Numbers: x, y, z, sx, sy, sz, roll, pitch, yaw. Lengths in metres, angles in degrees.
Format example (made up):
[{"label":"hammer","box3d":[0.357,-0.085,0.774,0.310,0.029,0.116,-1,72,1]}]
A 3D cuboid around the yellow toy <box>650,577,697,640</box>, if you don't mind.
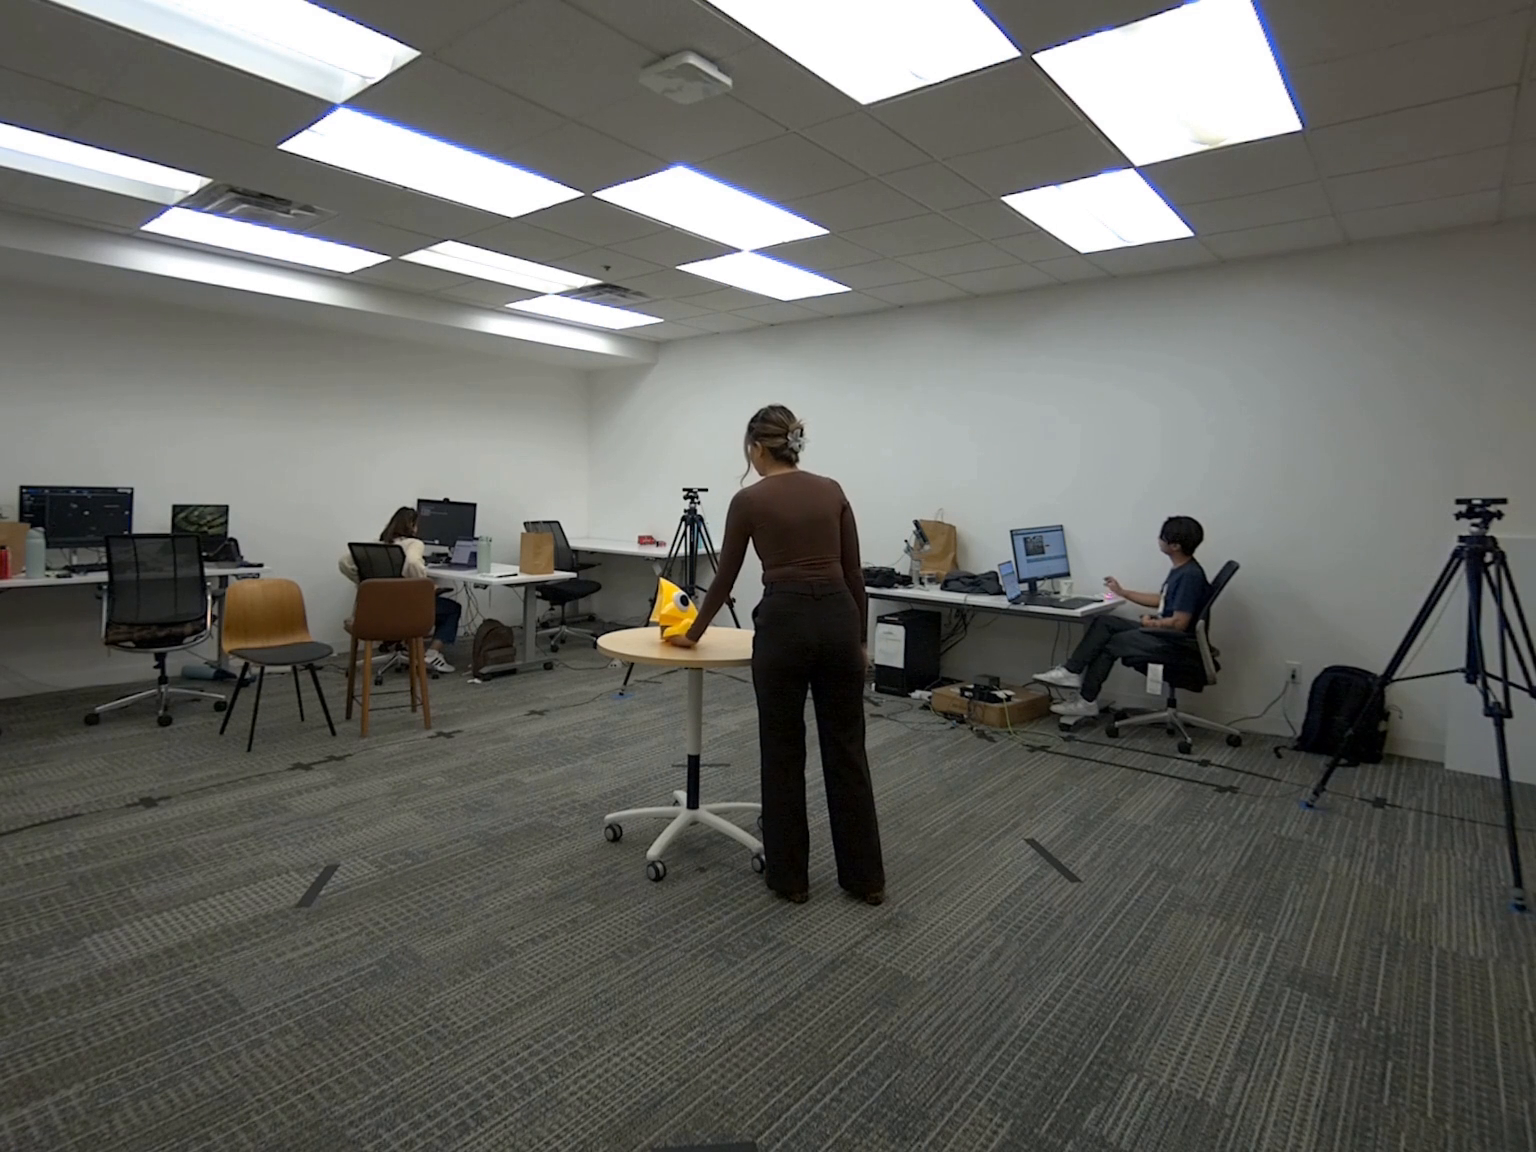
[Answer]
[{"label":"yellow toy","box3d":[-0.360,0.116,3.259,0.189,0.233,0.206,-3,-11,-19]}]
